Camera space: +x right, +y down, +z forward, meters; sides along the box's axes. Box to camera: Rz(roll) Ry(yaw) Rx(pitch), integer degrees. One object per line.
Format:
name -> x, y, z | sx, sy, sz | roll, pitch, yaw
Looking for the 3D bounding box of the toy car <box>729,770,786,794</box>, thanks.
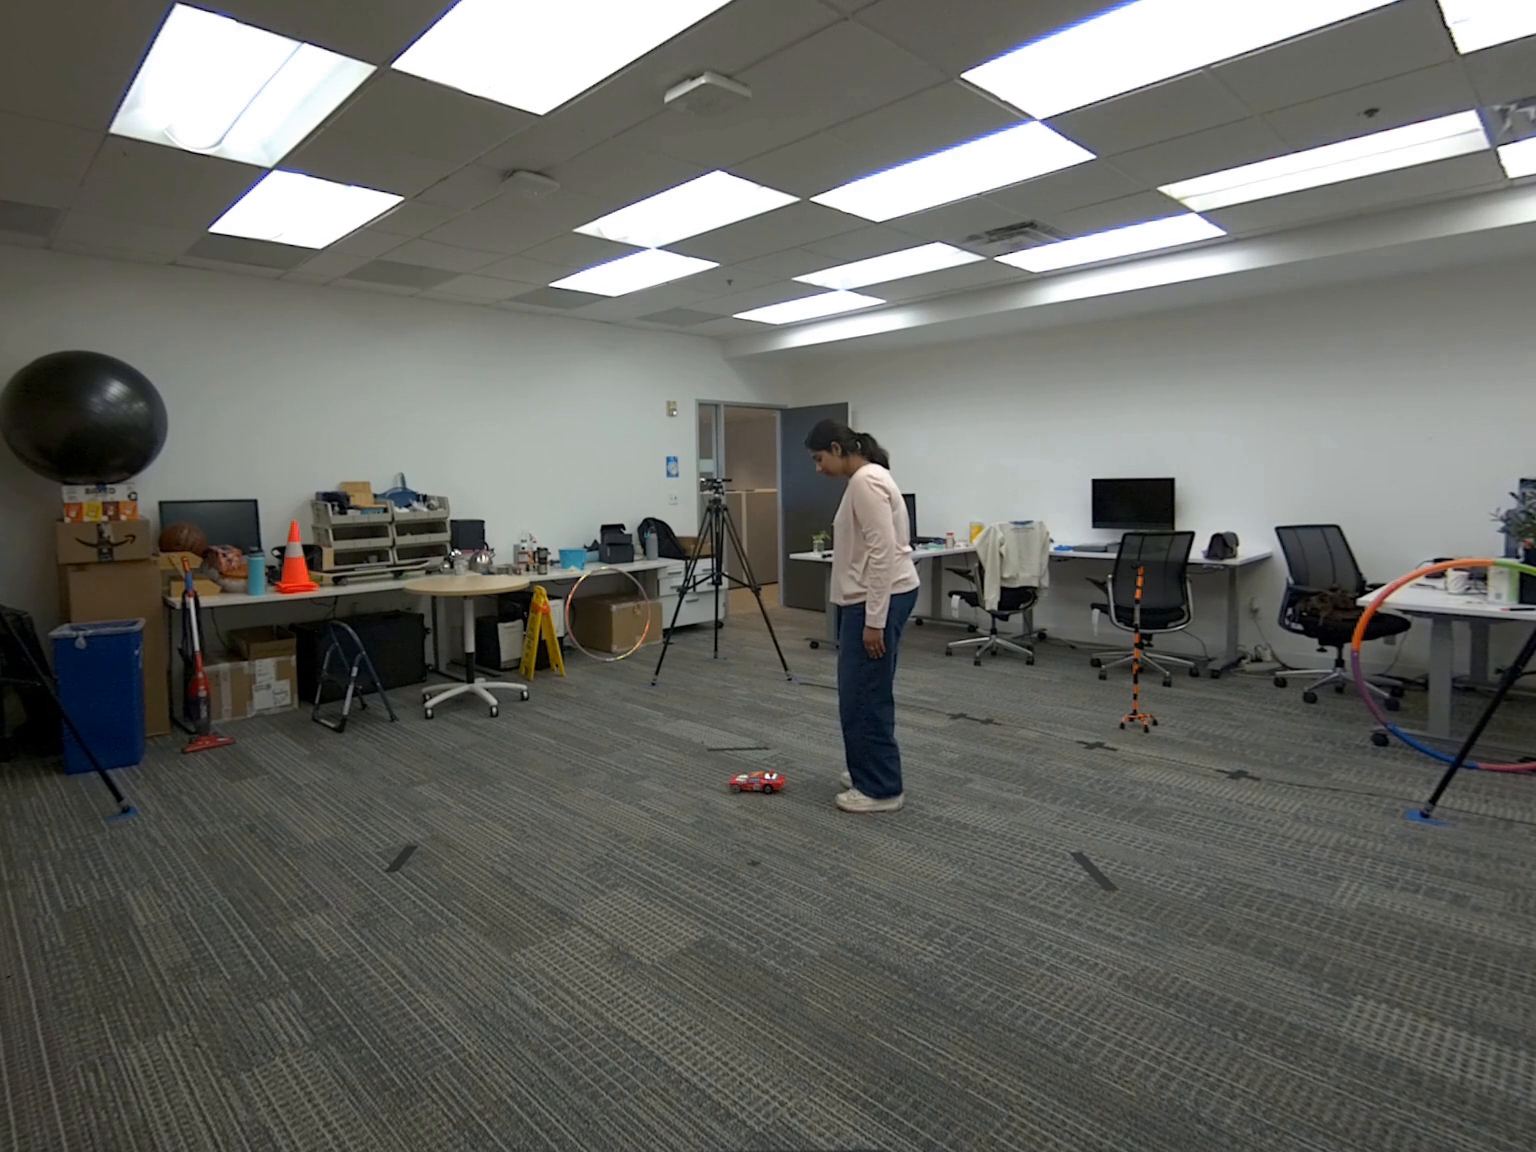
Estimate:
toy car -> -0.040, 0.931, 3.846 | 0.256, 0.083, 0.130 | -12, 4, 10
